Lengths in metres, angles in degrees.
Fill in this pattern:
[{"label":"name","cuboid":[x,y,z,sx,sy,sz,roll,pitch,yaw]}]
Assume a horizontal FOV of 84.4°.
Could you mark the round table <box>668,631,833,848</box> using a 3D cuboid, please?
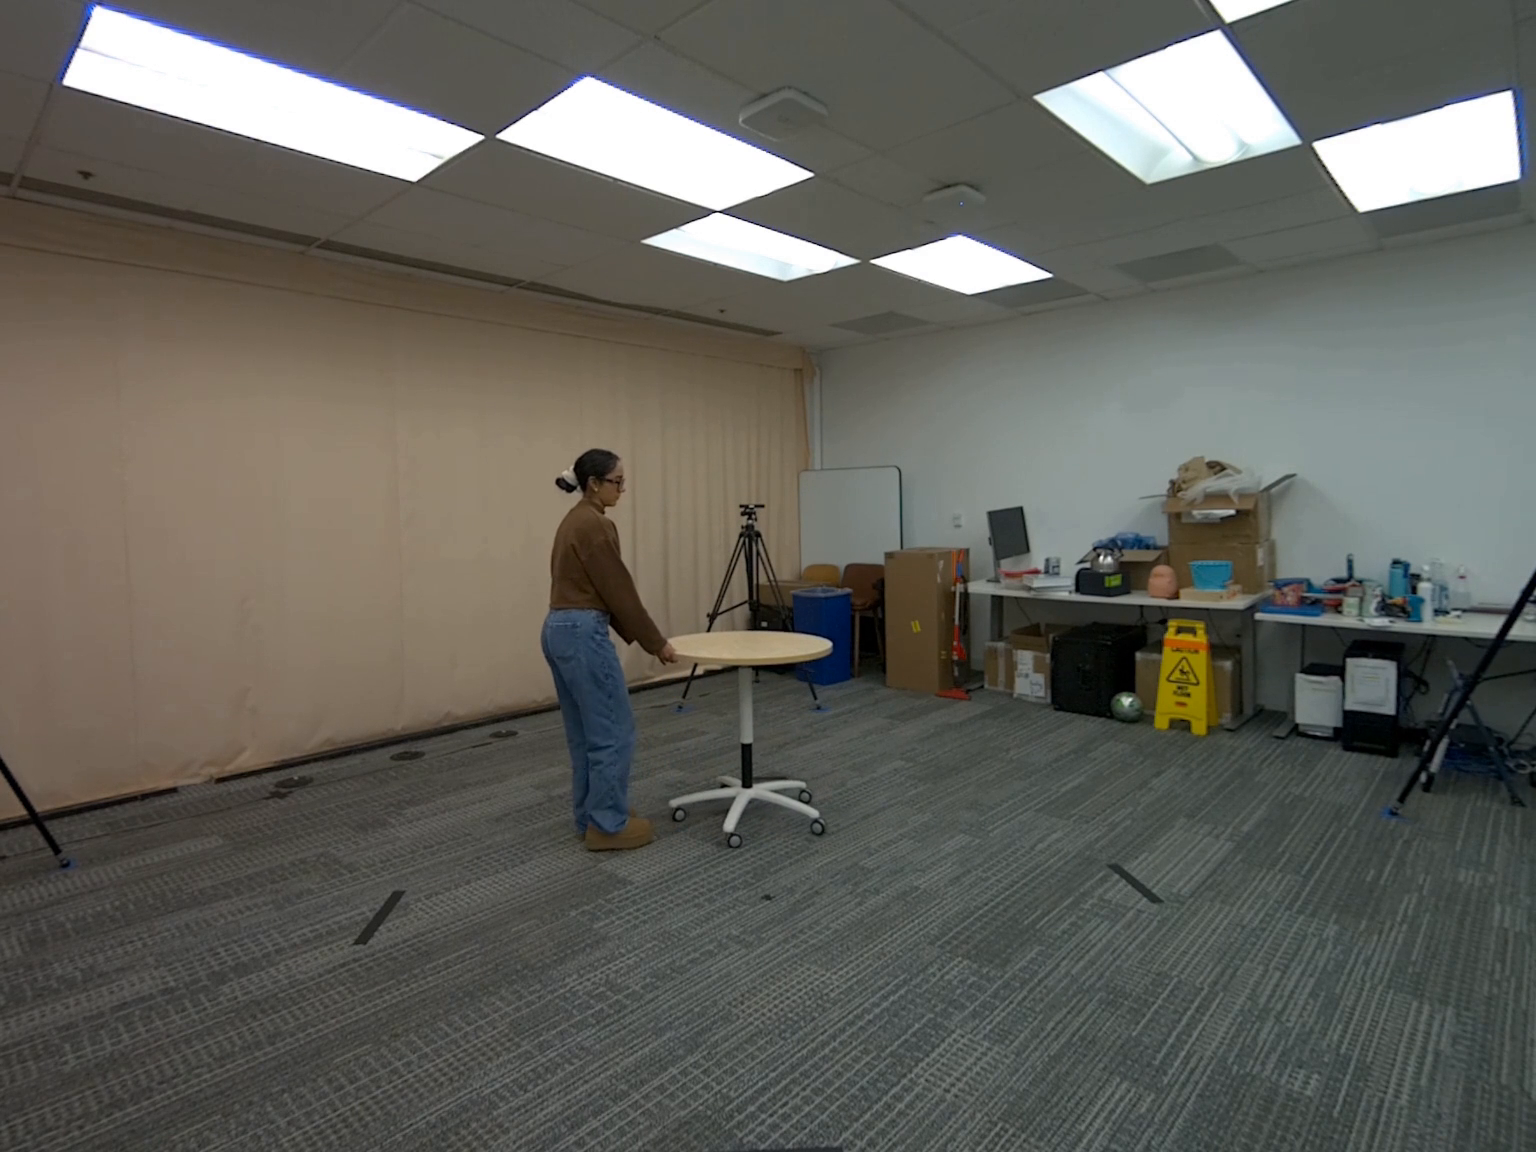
[{"label":"round table","cuboid":[-0.091,0.691,3.721,0.763,0.792,0.766,-1,3,-2]}]
